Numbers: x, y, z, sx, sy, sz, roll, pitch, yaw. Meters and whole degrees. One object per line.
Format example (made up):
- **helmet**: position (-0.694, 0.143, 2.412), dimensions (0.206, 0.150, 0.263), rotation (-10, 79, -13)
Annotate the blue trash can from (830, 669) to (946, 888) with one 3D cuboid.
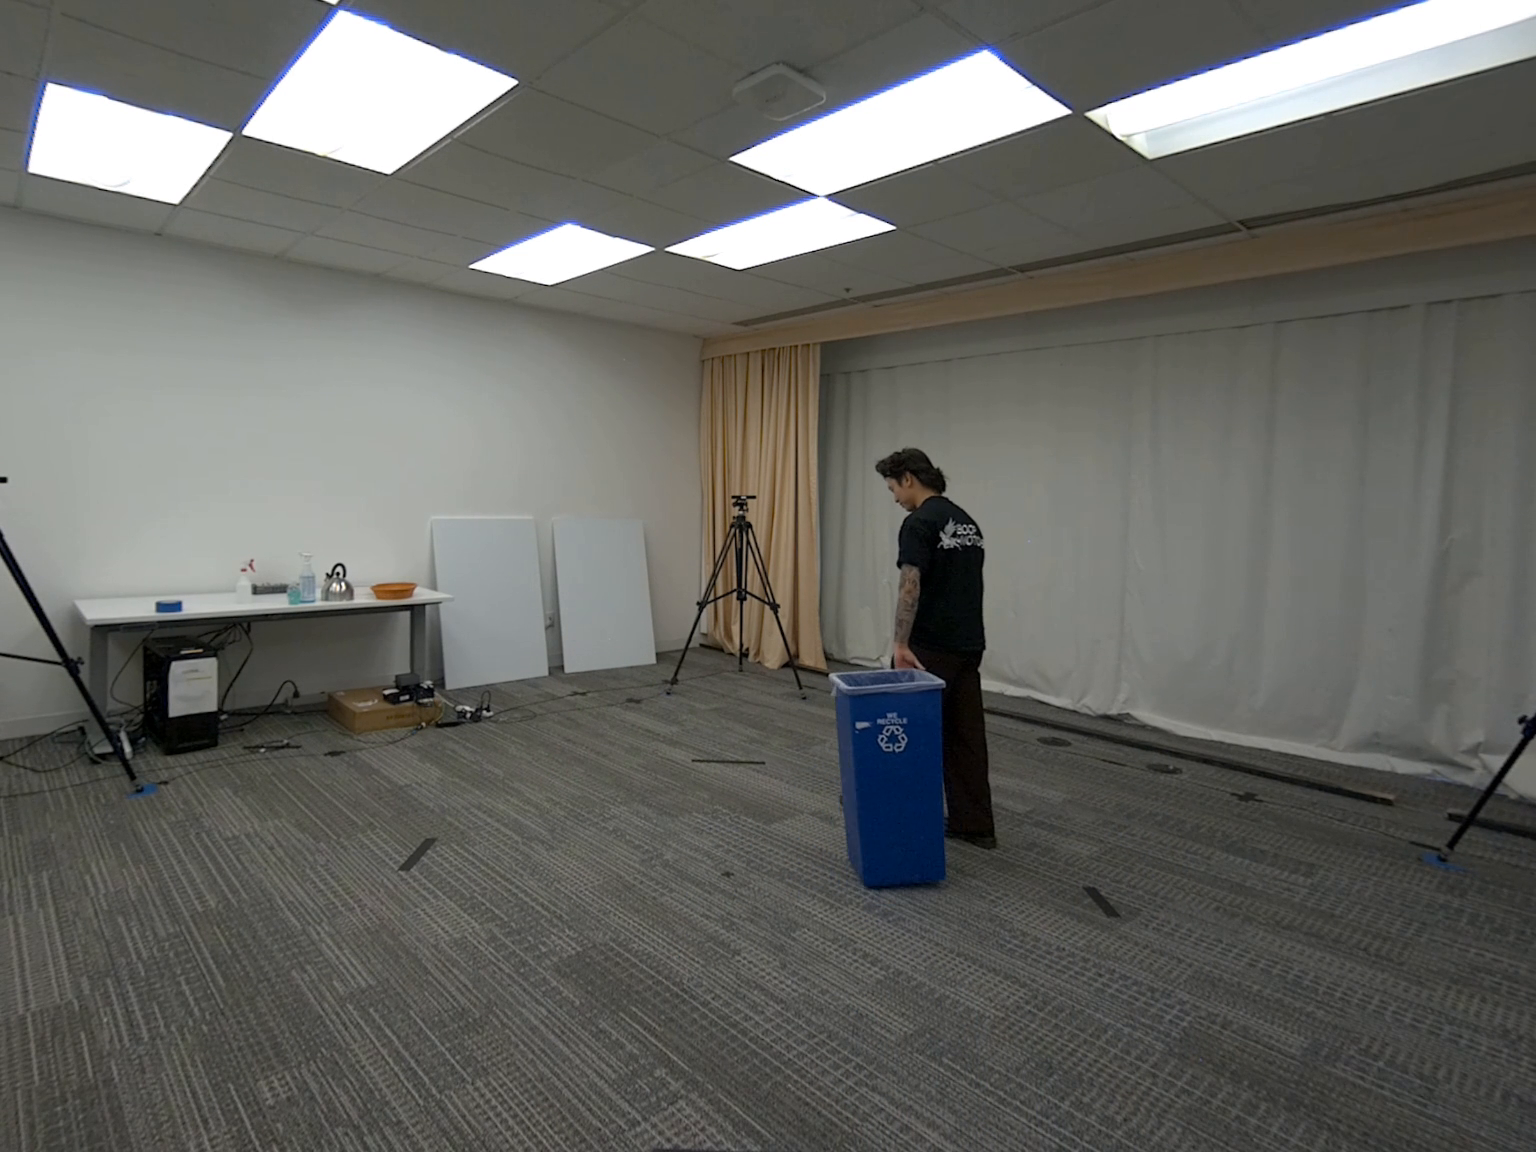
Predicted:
- **blue trash can**: position (0.457, 0.736, 3.155), dimensions (0.373, 0.713, 0.379), rotation (-4, 1, -5)
